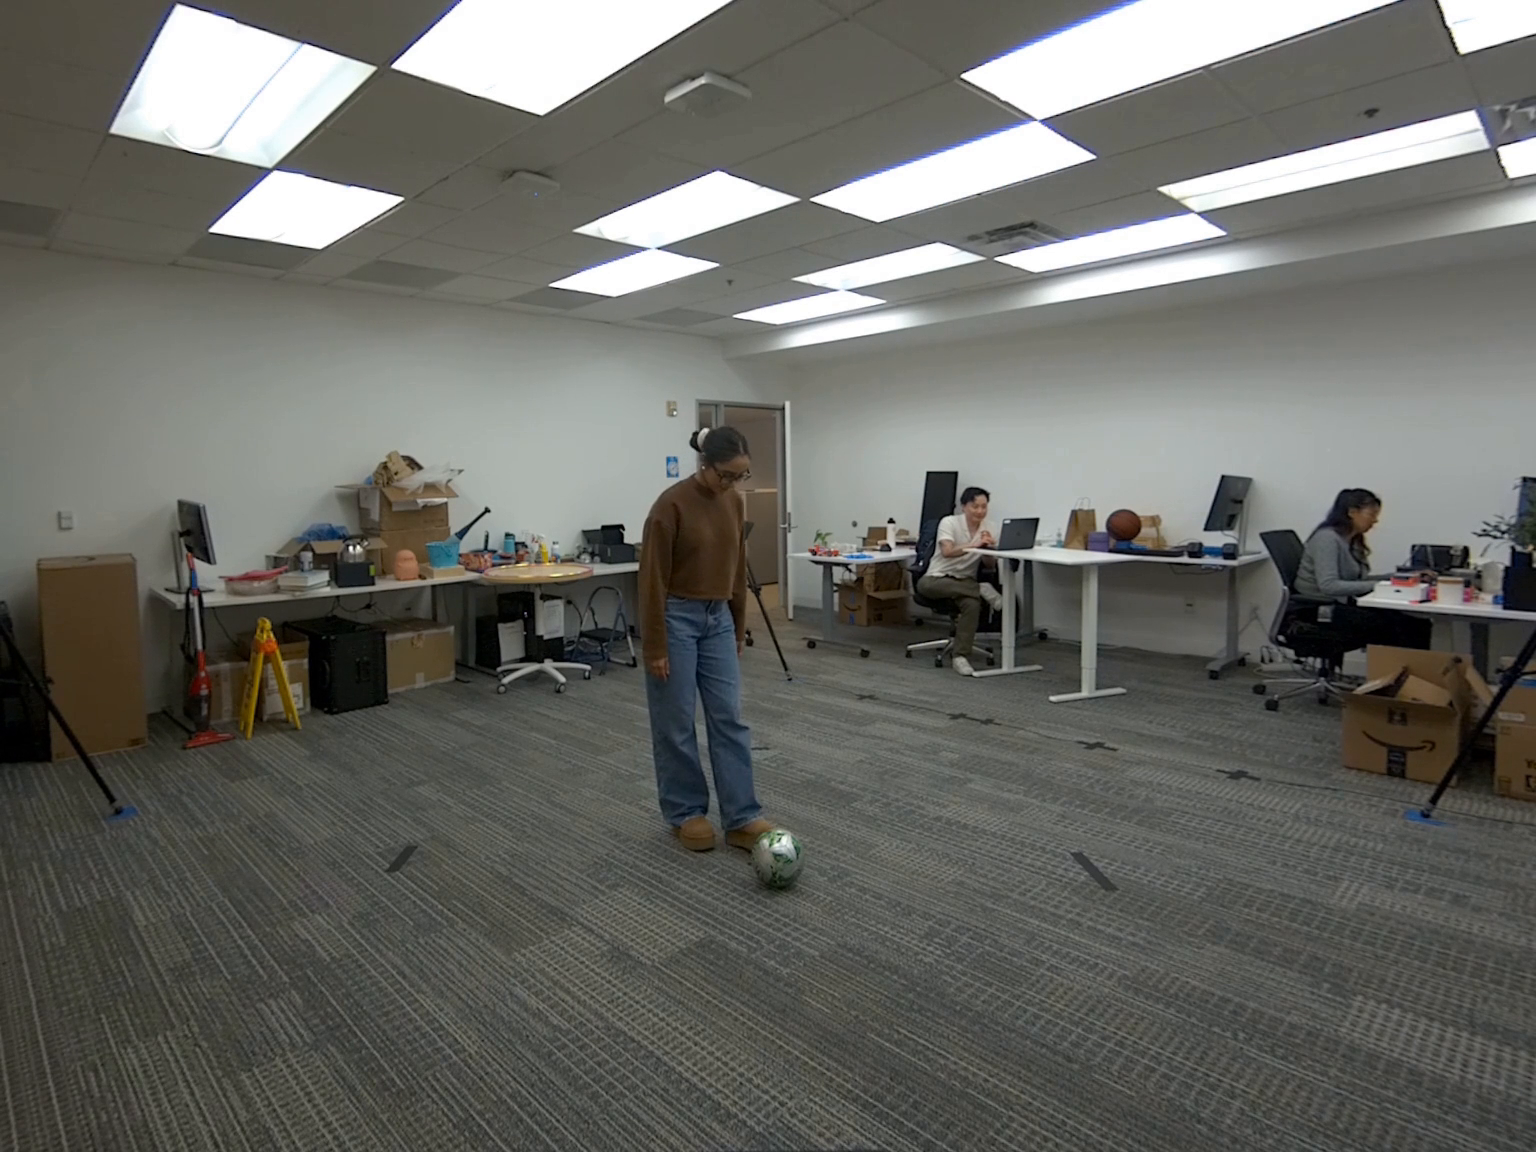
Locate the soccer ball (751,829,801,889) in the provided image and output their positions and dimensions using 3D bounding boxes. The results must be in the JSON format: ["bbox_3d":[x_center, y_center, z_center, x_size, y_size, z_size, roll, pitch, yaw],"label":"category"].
[{"bbox_3d":[0.041,0.964,2.936,0.187,0.187,0.188,-1,5,-2],"label":"soccer ball"}]
